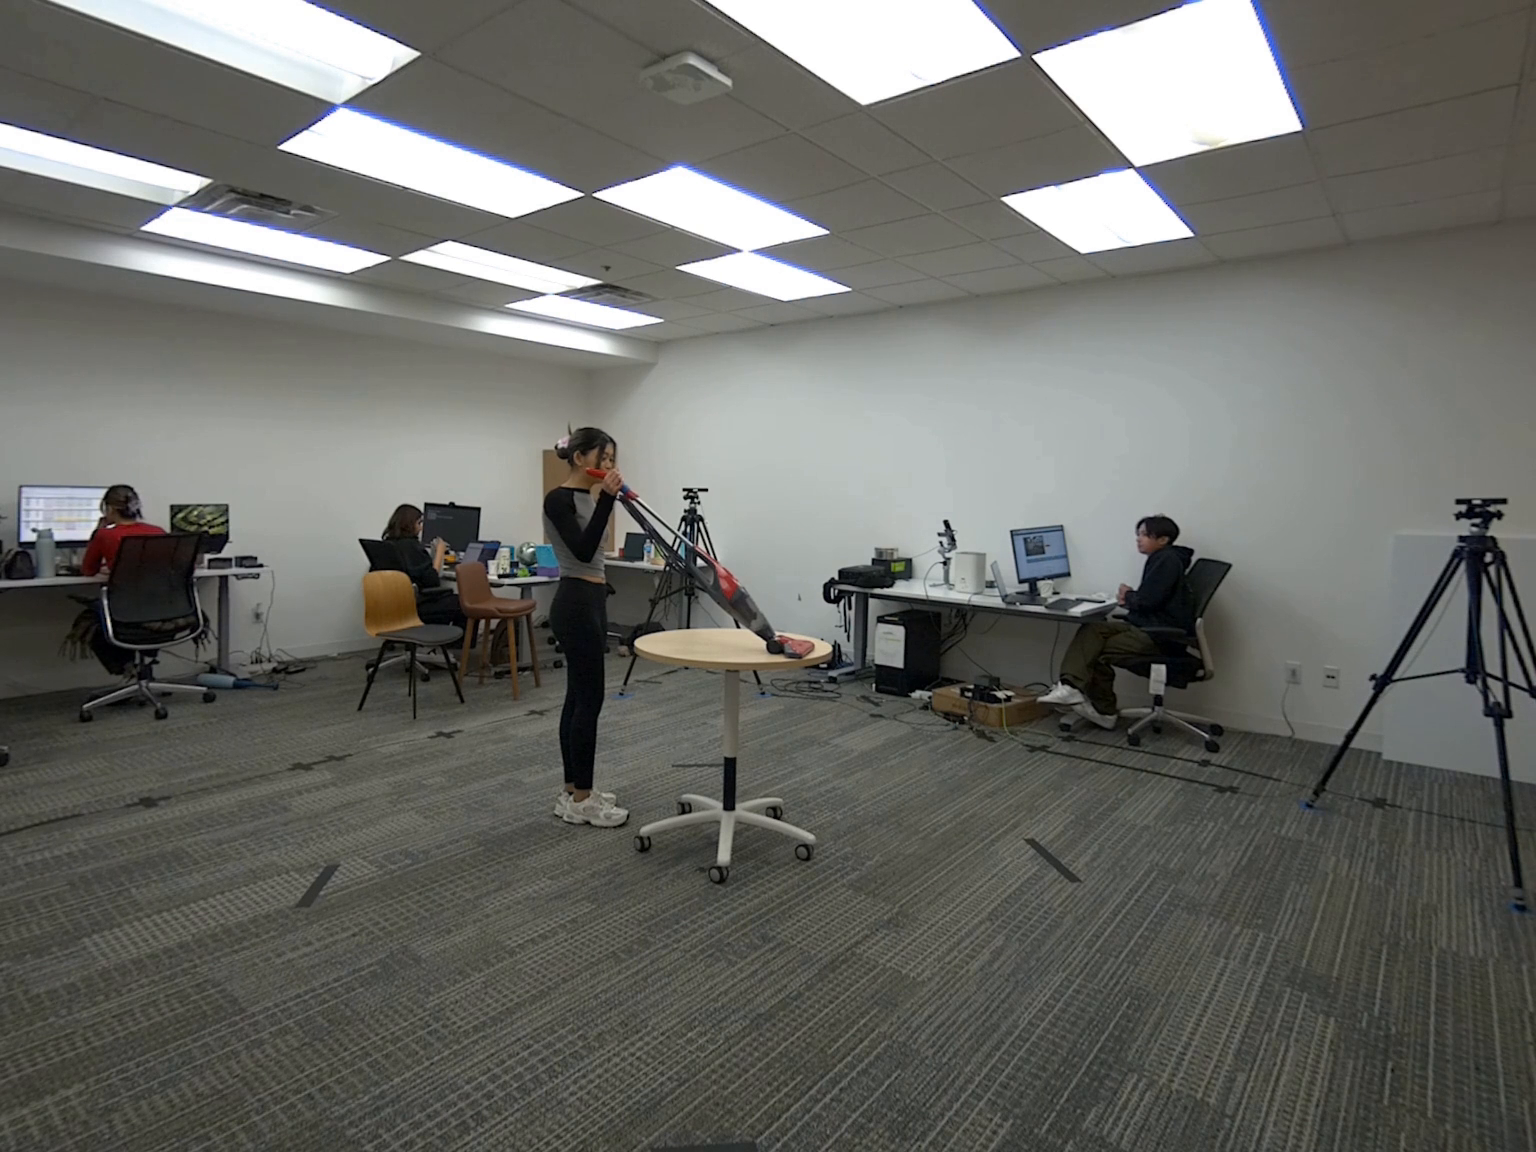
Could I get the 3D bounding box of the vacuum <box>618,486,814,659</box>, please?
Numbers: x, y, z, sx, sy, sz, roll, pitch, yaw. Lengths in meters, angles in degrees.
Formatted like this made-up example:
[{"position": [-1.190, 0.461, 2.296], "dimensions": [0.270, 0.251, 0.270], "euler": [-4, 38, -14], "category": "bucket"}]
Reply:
[{"position": [-0.313, -0.073, 3.260], "dimensions": [1.070, 0.143, 0.249], "euler": [40, 30, 14], "category": "vacuum"}]
